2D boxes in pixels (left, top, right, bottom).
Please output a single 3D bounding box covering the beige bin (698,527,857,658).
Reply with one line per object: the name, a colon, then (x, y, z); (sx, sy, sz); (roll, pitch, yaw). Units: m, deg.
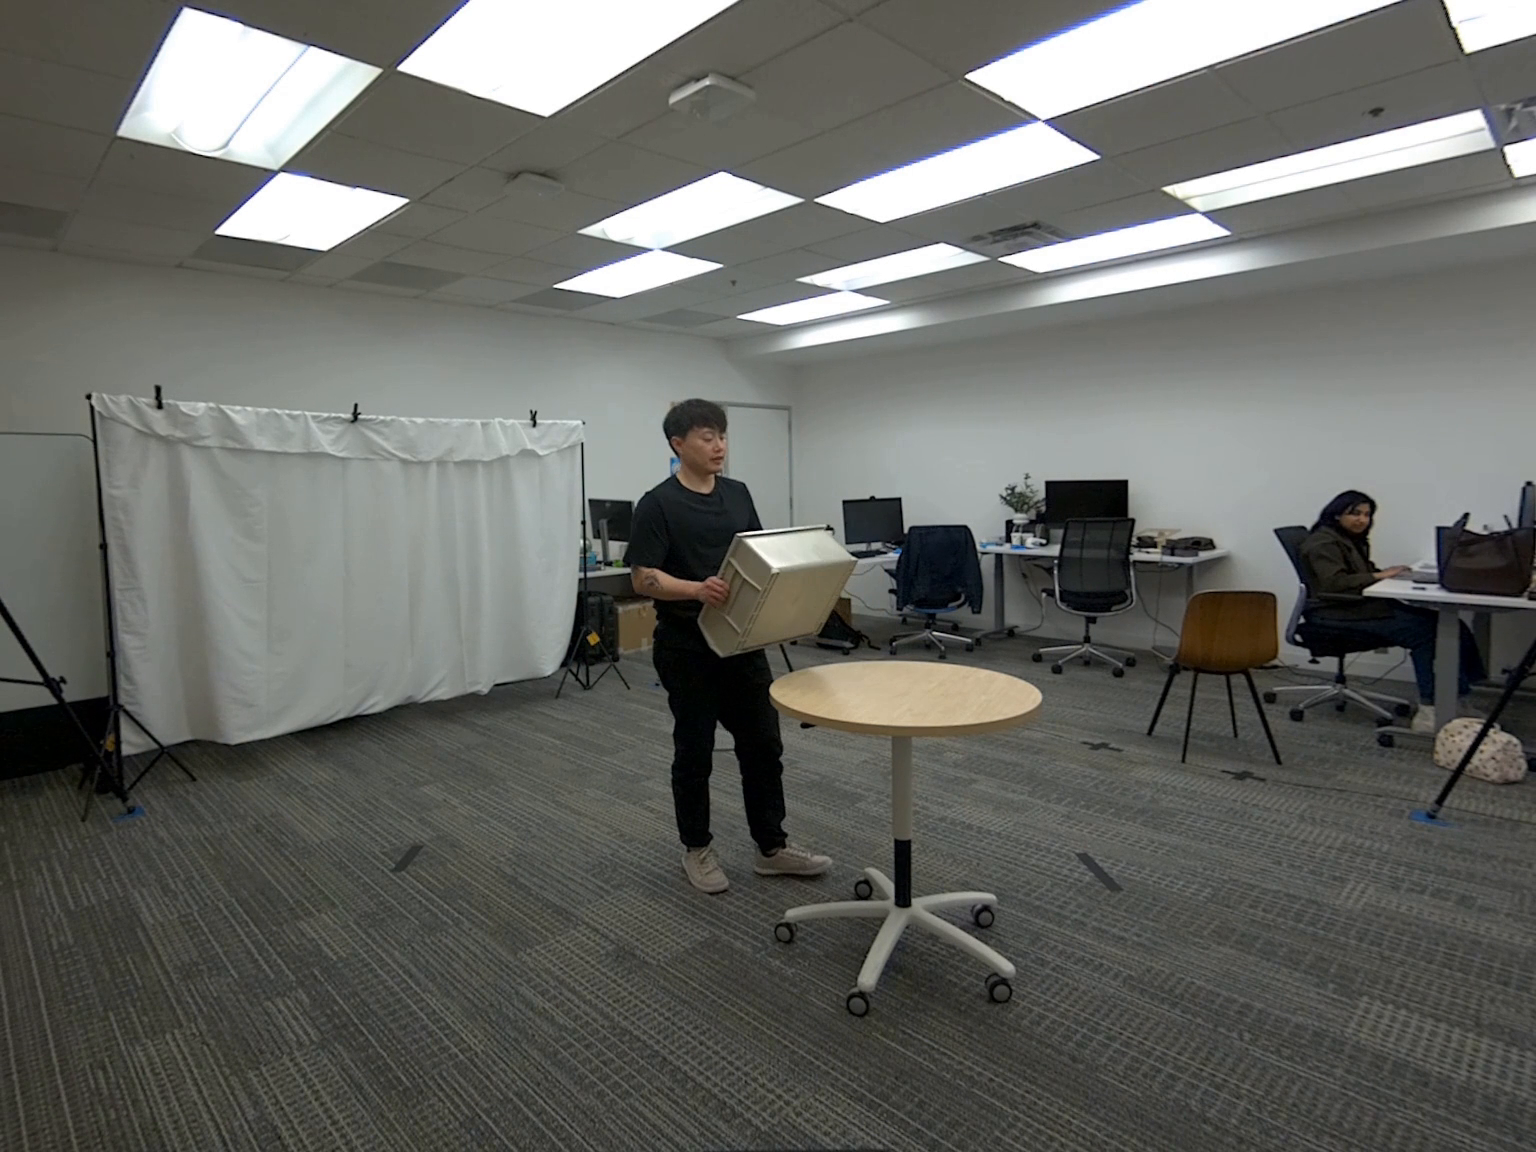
beige bin: (0.034, 0.055, 2.740); (0.411, 0.373, 0.196); (-8, 45, -44)
